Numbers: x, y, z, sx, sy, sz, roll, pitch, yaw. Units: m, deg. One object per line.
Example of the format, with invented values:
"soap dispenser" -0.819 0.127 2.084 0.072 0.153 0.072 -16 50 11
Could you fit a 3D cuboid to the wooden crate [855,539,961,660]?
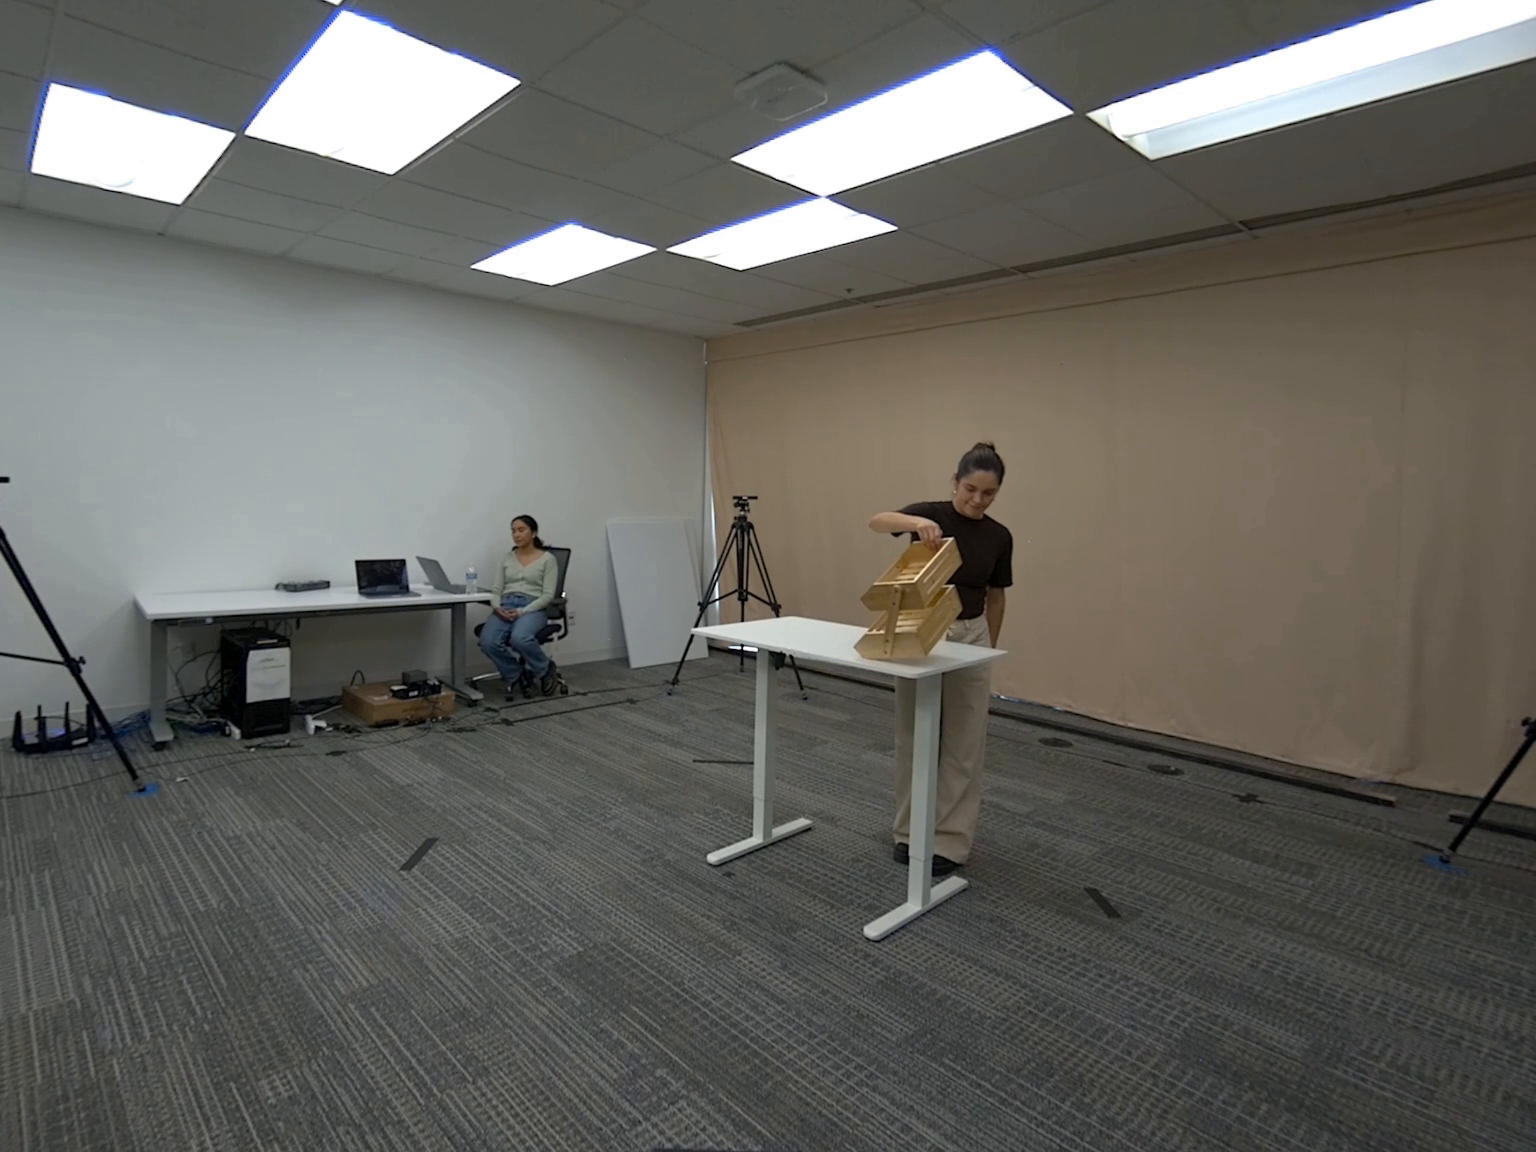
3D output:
"wooden crate" 0.435 0.072 2.702 0.308 0.269 0.323 -5 23 41
